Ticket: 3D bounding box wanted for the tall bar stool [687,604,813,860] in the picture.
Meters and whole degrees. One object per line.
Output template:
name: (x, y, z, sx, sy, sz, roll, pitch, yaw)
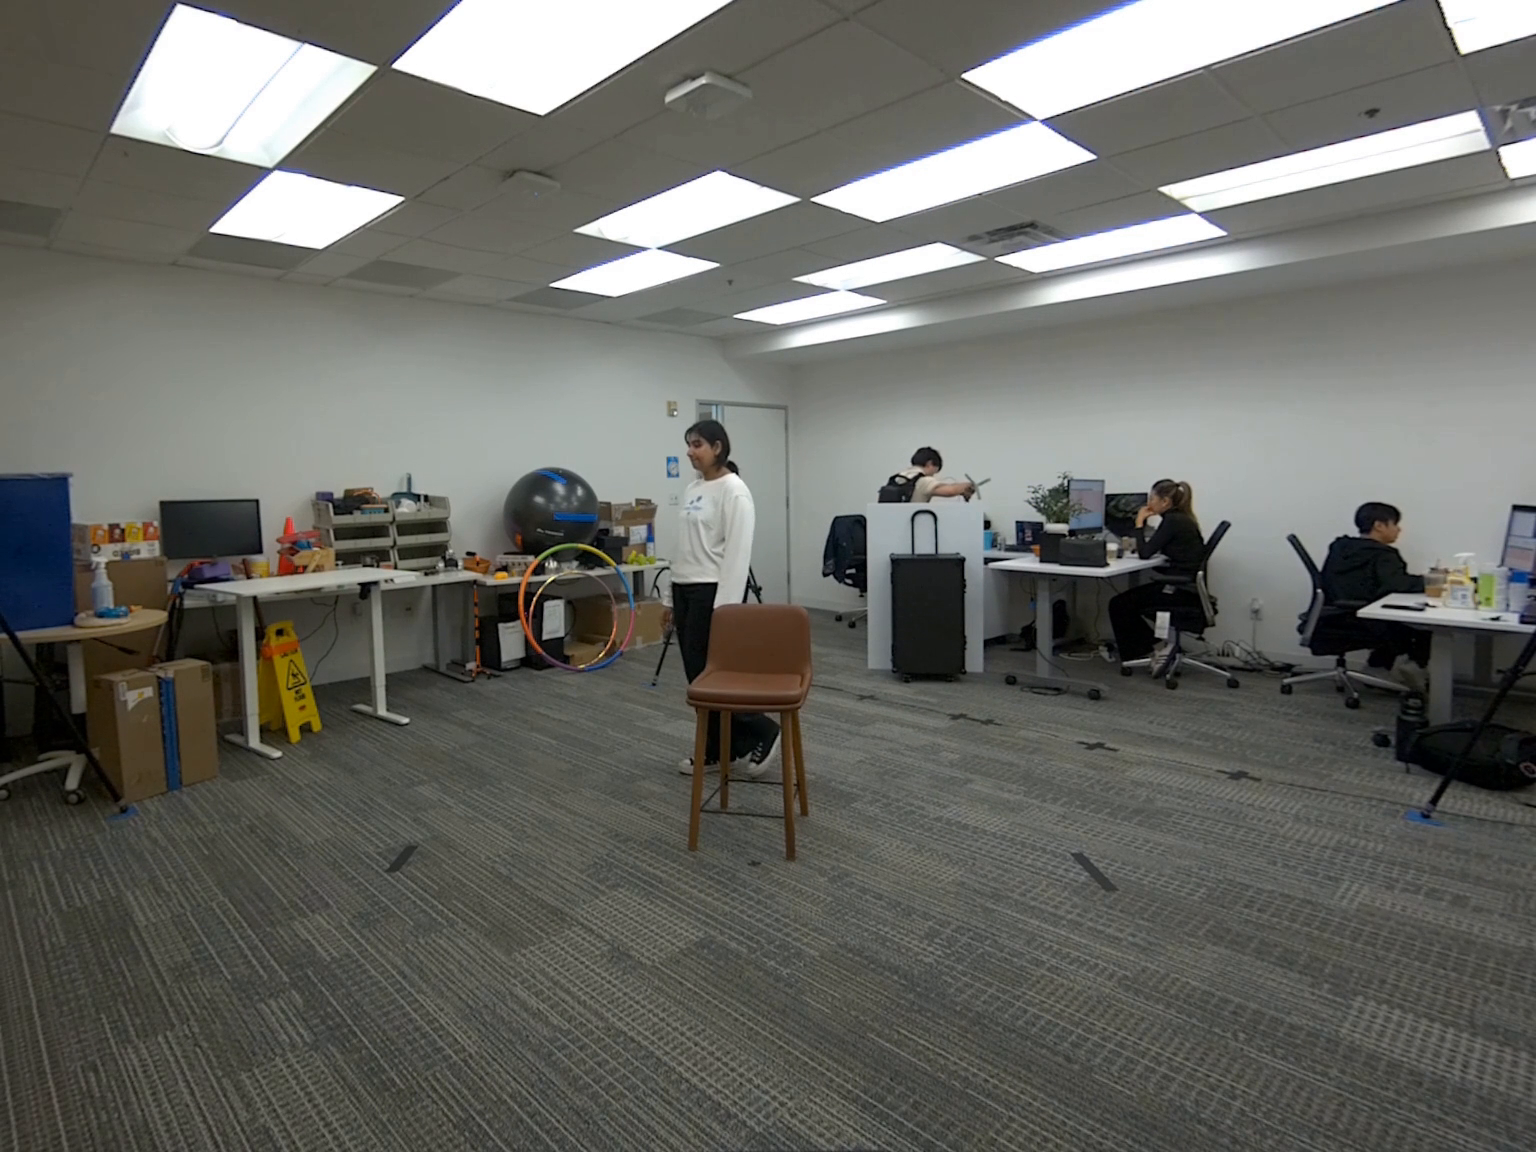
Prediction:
tall bar stool: (-0.063, 0.581, 3.375, 0.463, 0.888, 0.462, 0, 2, 14)
